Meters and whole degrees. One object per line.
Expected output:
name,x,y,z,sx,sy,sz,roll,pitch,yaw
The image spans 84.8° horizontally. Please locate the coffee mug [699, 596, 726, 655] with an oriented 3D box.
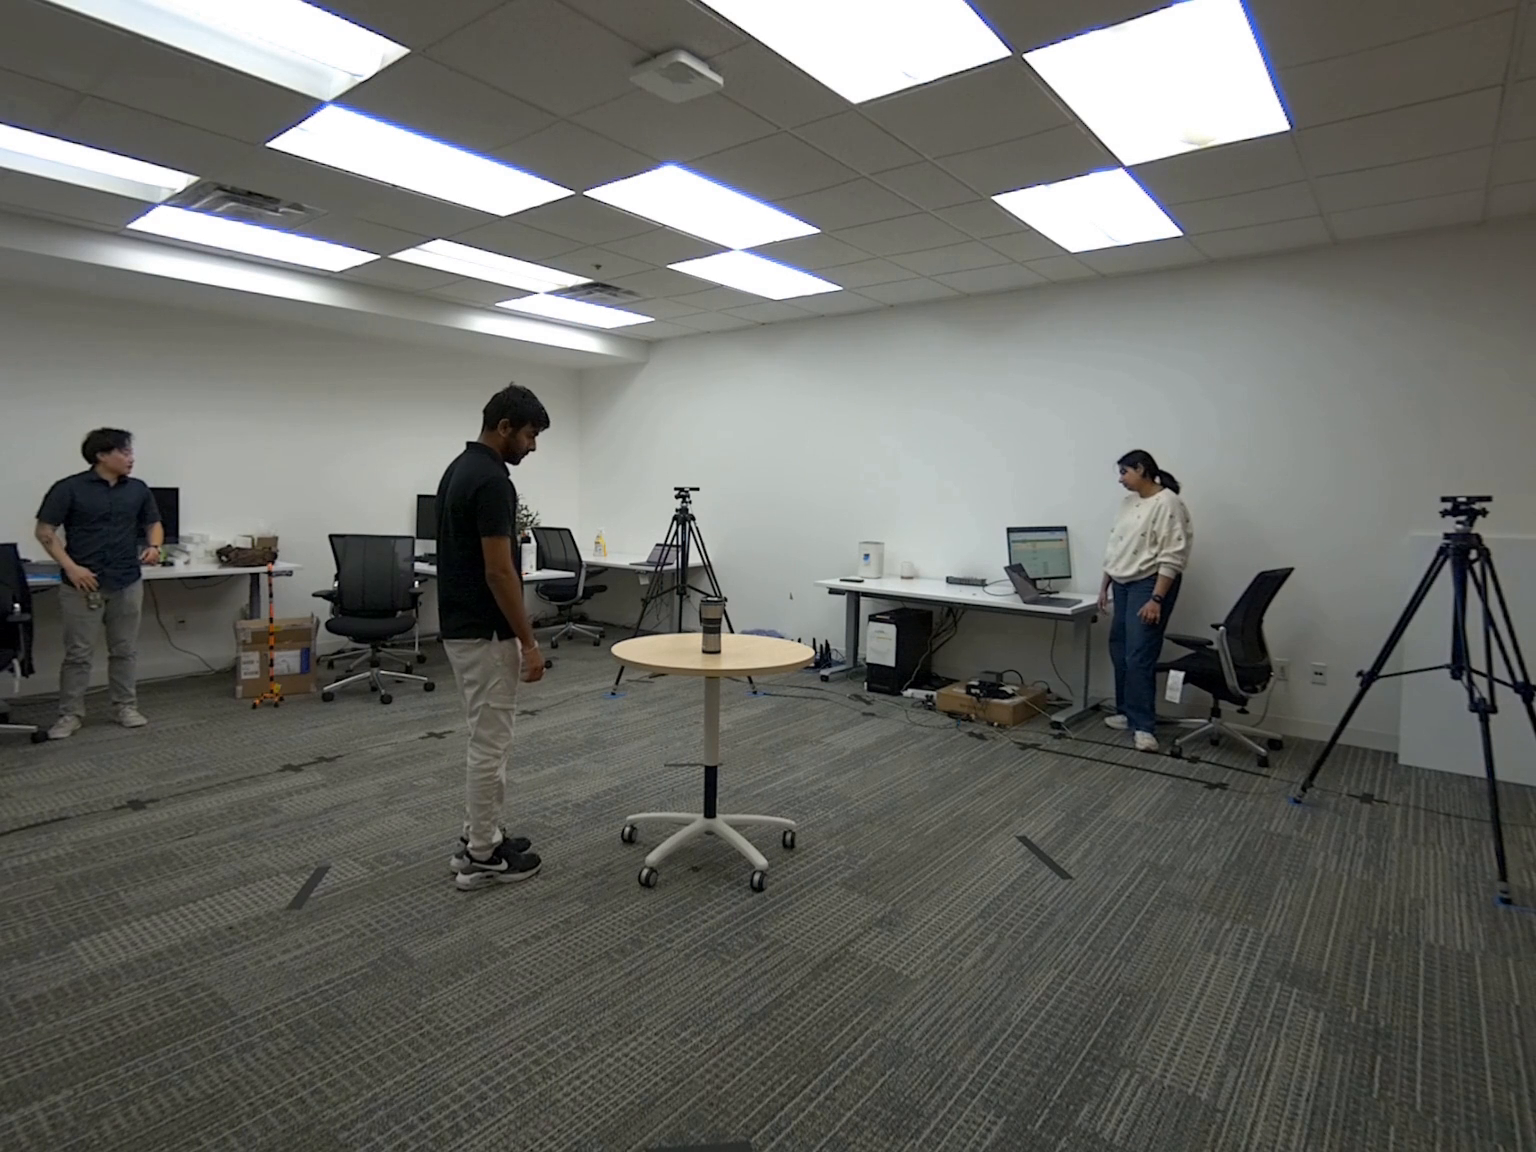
coffee mug,-0.206,0.183,3.148,0.118,0.203,0.090,-6,0,-39
